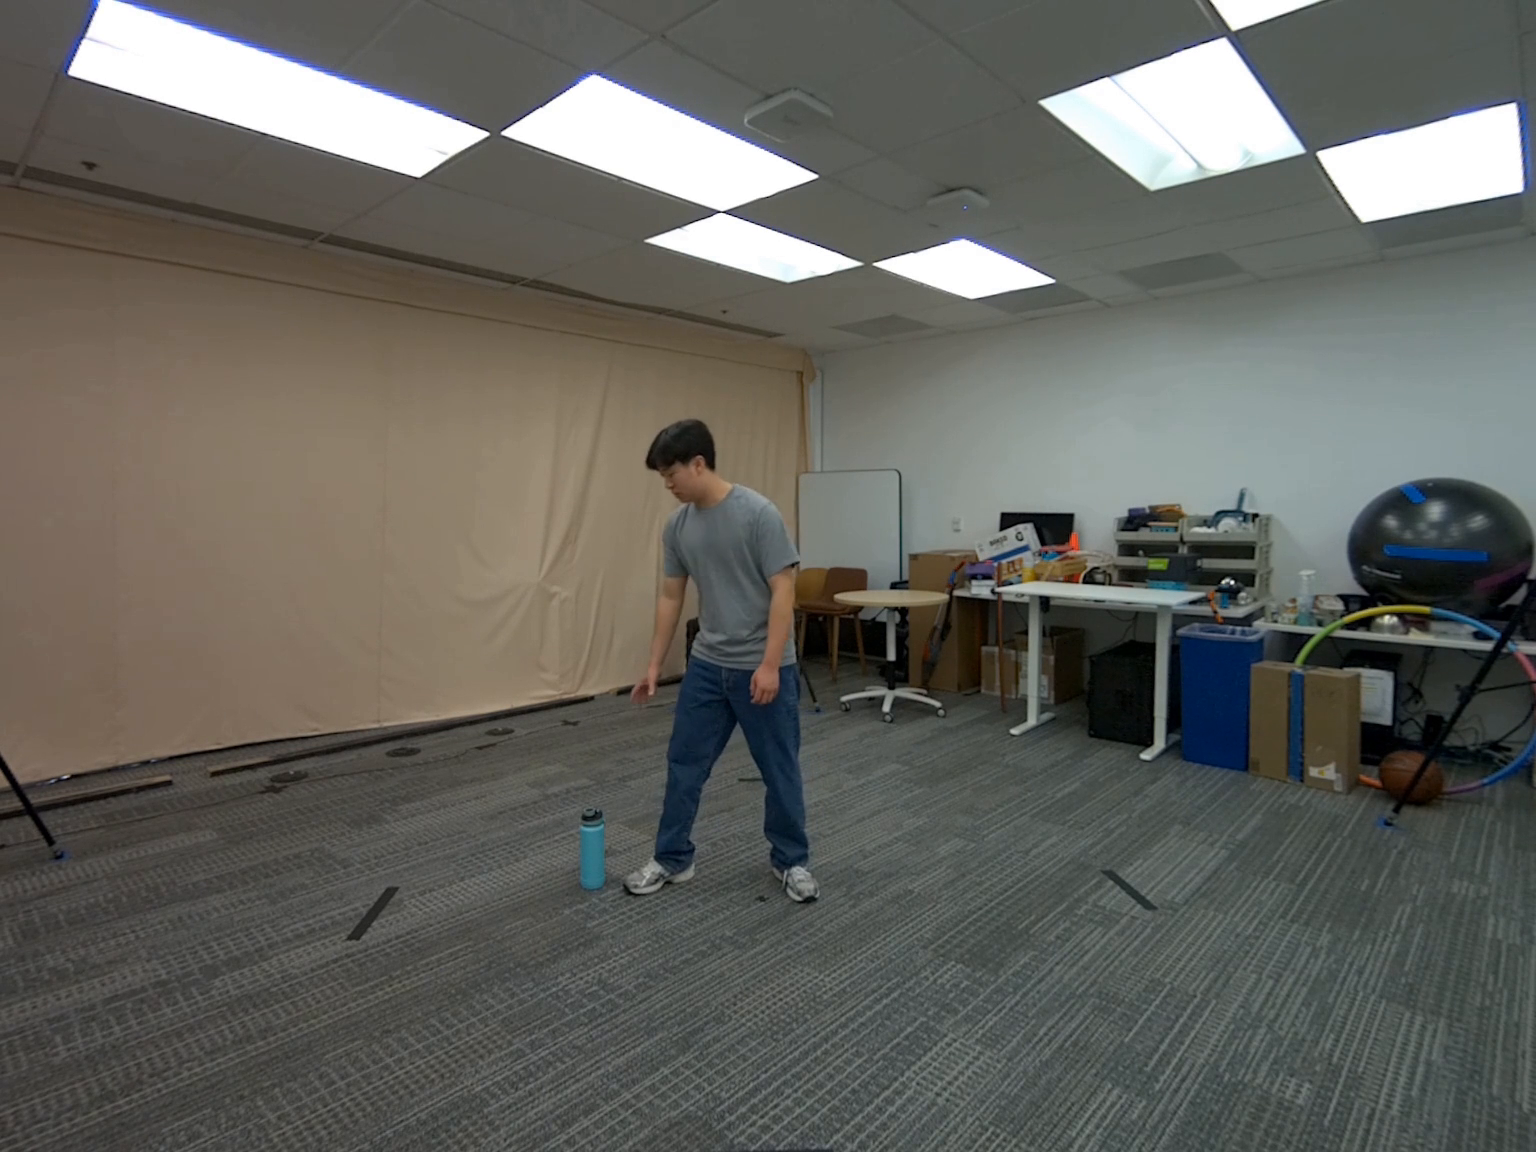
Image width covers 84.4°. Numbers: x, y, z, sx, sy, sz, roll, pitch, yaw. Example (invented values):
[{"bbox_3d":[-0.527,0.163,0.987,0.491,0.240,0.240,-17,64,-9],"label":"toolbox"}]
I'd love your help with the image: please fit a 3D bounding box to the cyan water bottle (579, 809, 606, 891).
[{"bbox_3d":[-0.649,1.003,3.107,0.092,0.283,0.092,1,0,-2],"label":"cyan water bottle"}]
